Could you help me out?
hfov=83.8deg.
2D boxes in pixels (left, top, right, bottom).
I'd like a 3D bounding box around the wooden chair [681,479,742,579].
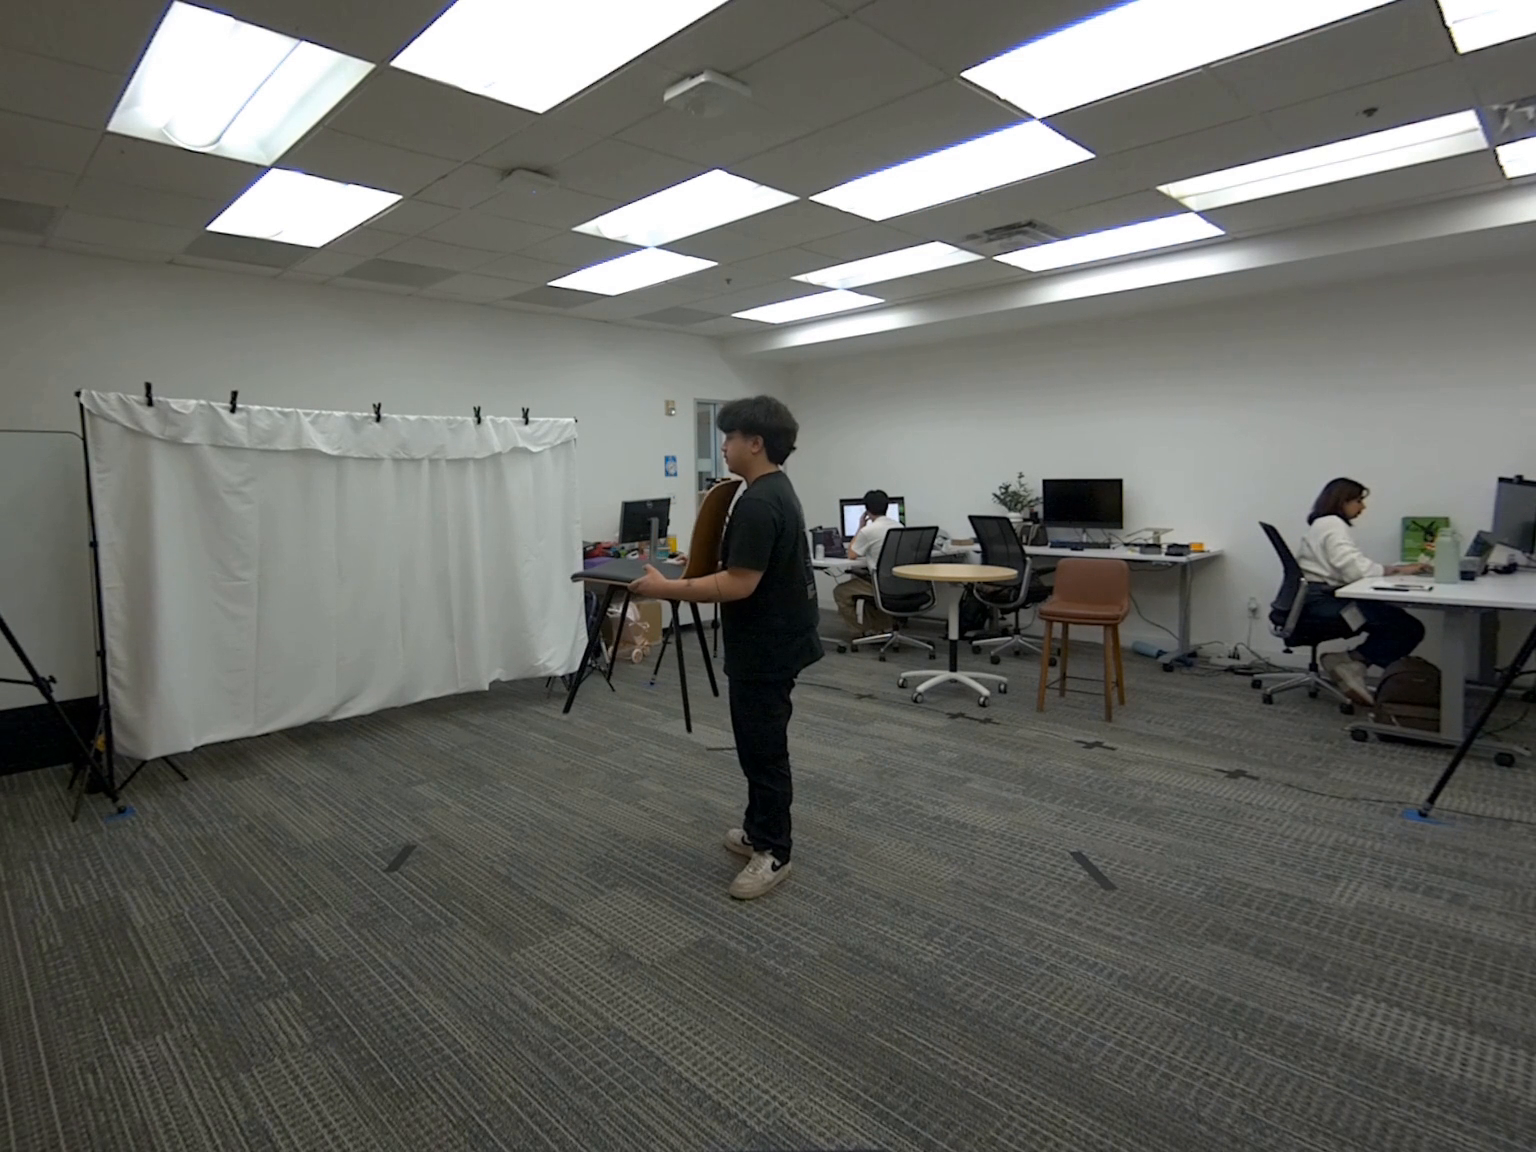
[{"bbox_3d":[-0.408,0.047,3.052,0.529,0.872,0.476,10,8,9],"label":"wooden chair"}]
